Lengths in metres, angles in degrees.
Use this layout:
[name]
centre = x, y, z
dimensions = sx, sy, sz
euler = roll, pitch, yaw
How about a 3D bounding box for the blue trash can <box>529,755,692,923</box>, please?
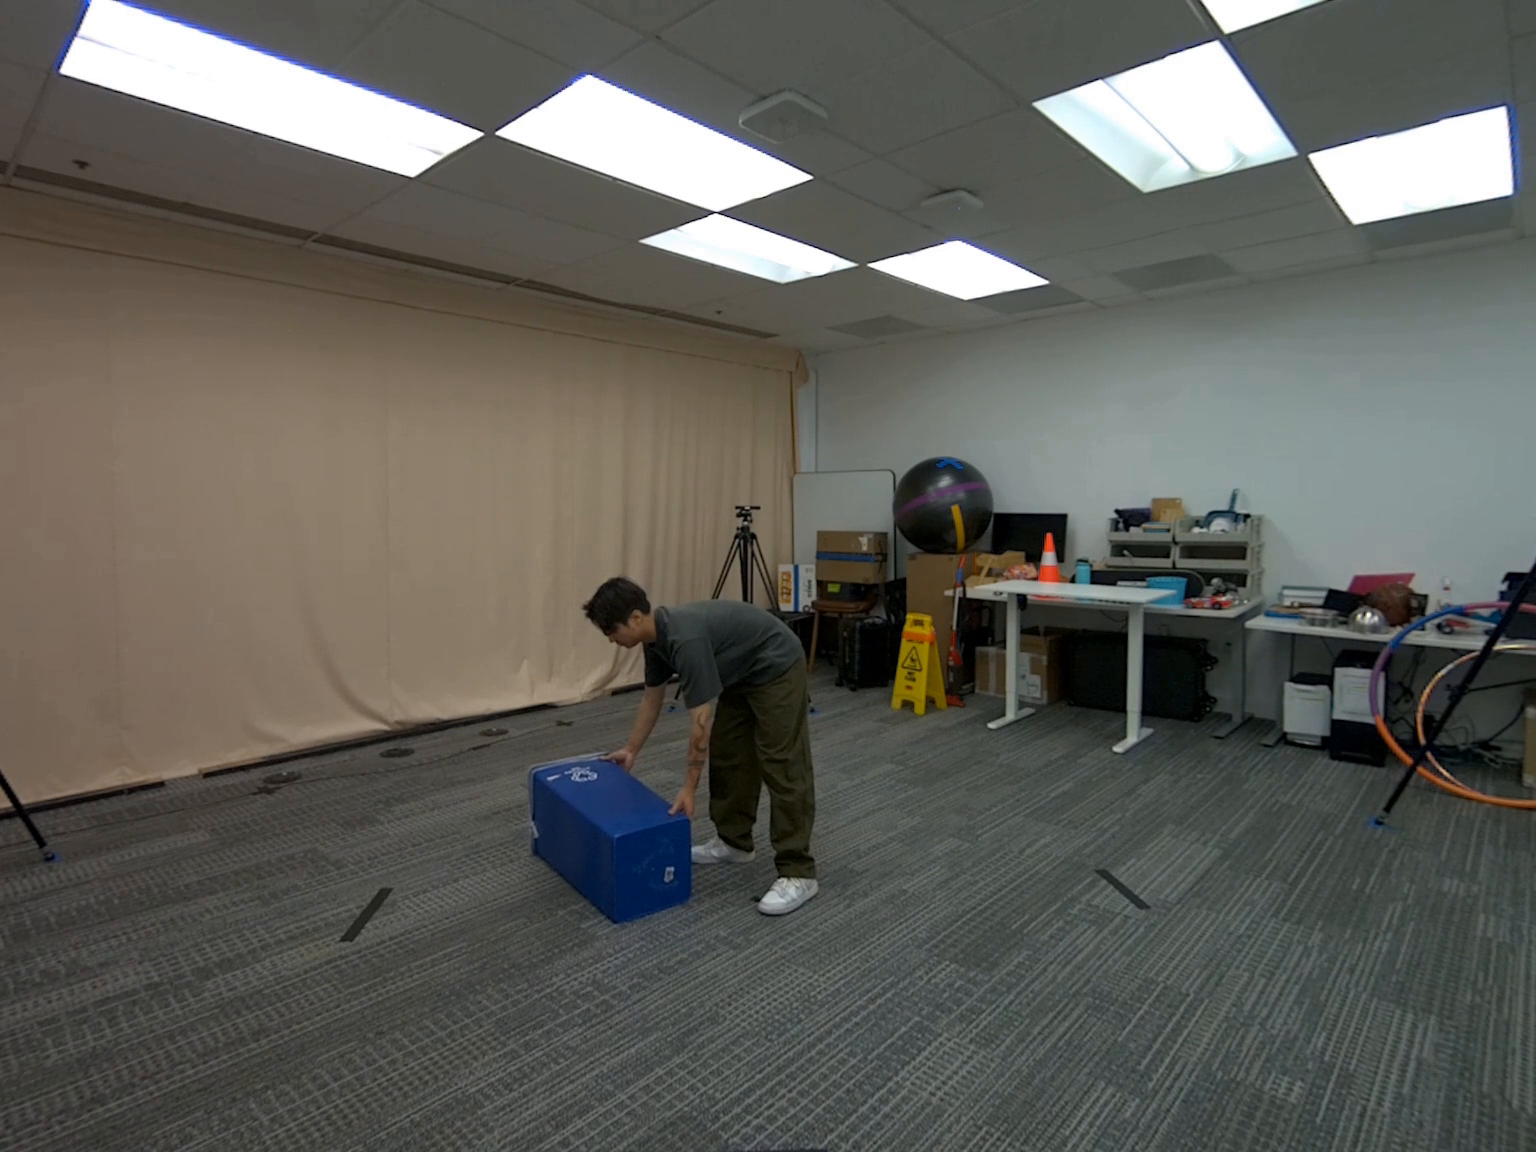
[blue trash can]
centre = -0.600, 0.962, 3.165
dimensions = 0.367, 0.373, 0.736
euler = -4, 7, -35
